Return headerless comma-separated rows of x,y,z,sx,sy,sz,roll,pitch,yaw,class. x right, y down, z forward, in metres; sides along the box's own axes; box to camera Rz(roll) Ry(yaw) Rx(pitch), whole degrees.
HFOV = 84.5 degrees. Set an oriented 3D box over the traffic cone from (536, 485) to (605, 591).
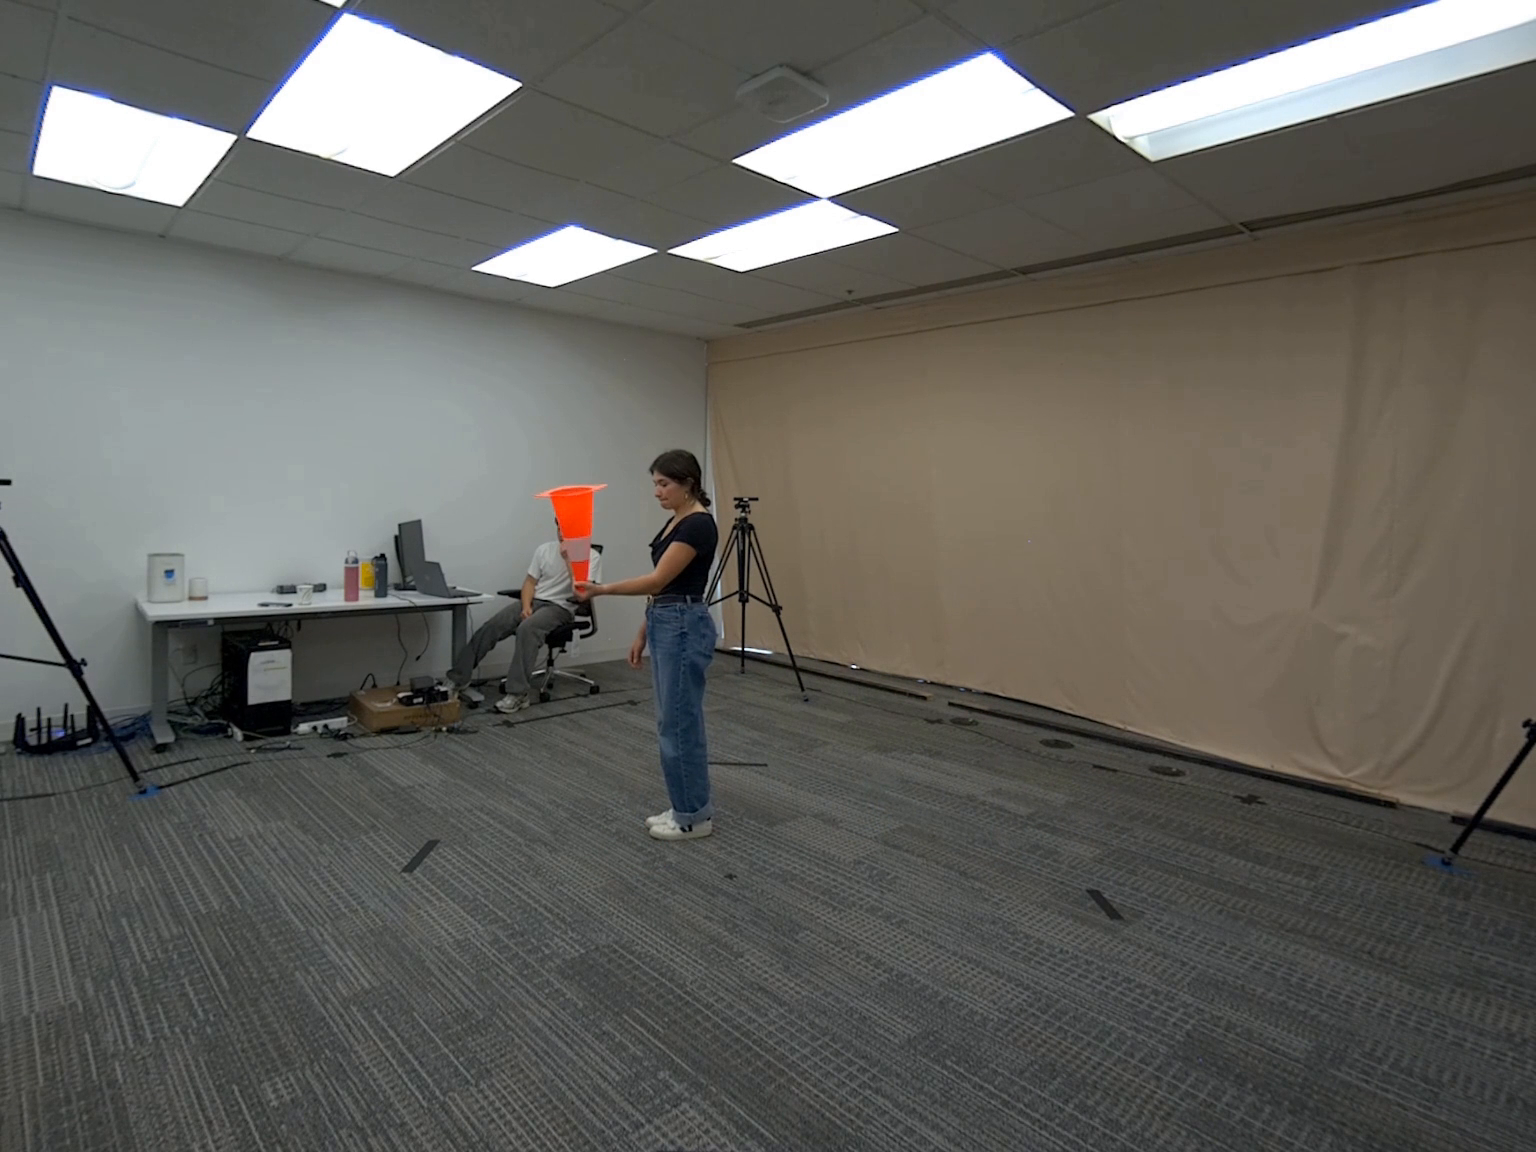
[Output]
-0.719,-0.120,3.065,0.208,0.379,0.202,3,15,18,traffic cone
